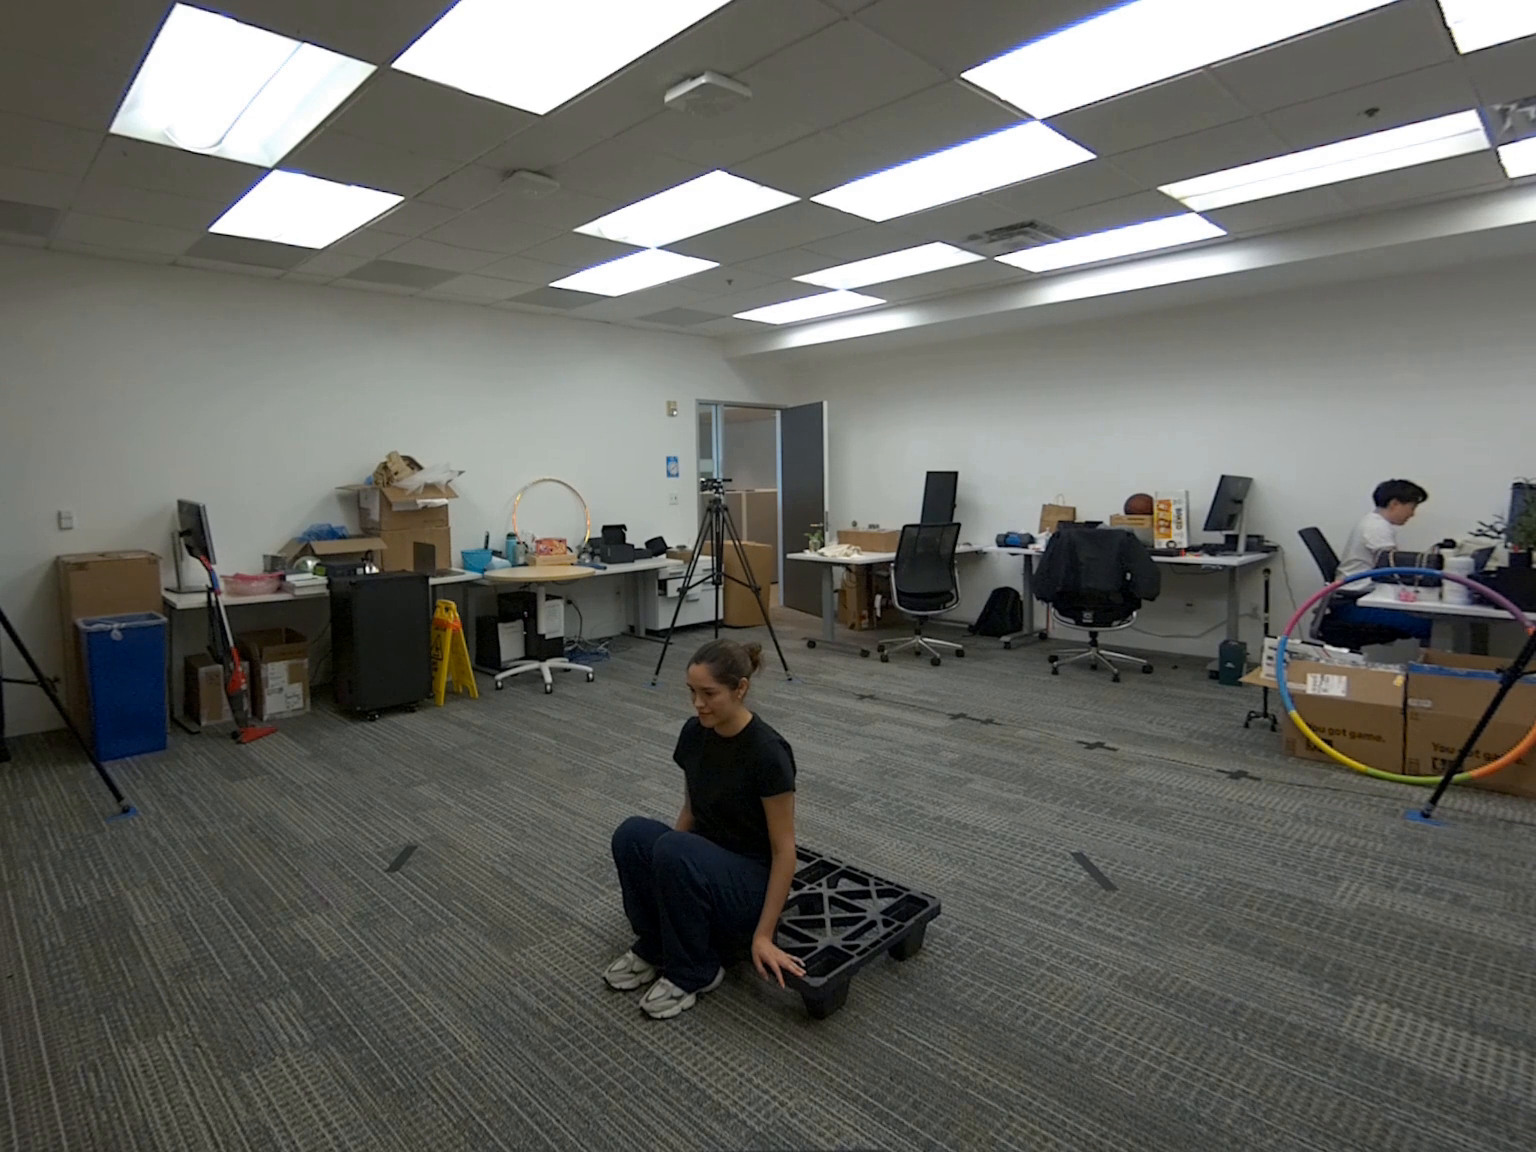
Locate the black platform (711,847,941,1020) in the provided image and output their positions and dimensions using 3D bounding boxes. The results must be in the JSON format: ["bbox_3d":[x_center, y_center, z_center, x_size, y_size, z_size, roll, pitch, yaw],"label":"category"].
[{"bbox_3d":[0.032,1.029,2.644,0.831,0.143,0.589,6,9,44],"label":"black platform"}]
